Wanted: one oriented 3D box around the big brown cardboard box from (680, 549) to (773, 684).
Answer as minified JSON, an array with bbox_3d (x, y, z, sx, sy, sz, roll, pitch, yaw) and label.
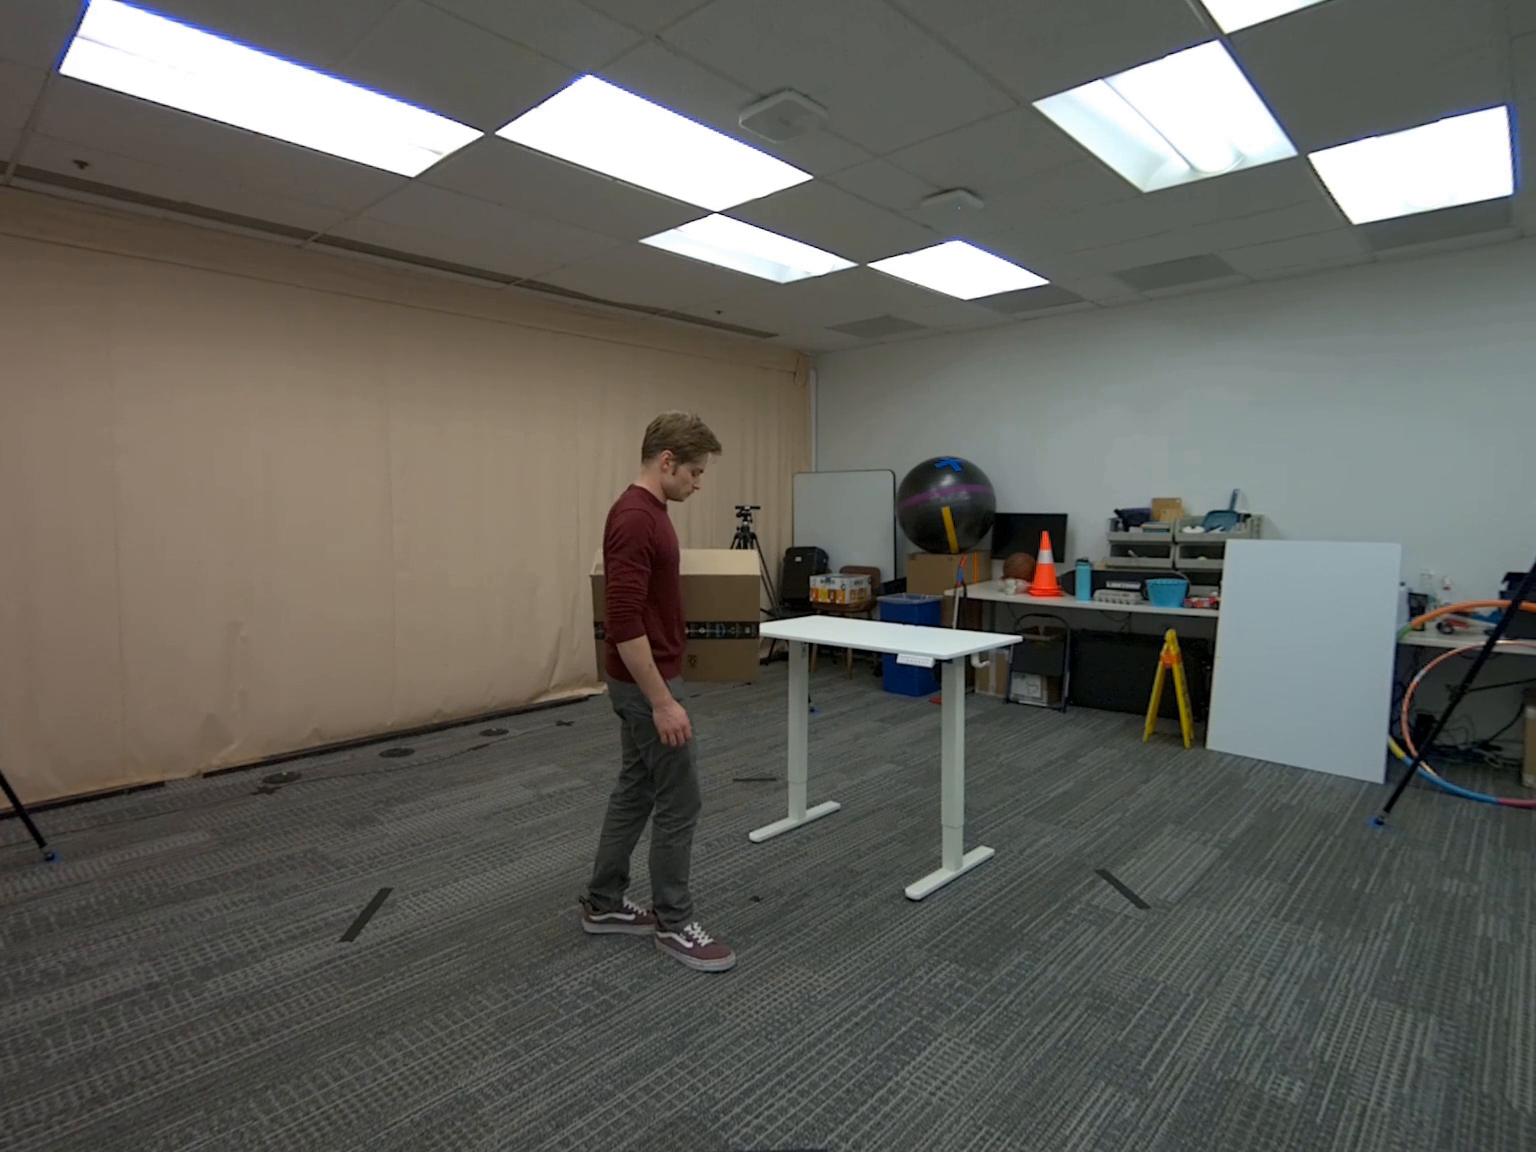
[{"bbox_3d":[-0.313,0.133,2.941,0.589,0.412,0.236,2,23,1],"label":"big brown cardboard box"}]
